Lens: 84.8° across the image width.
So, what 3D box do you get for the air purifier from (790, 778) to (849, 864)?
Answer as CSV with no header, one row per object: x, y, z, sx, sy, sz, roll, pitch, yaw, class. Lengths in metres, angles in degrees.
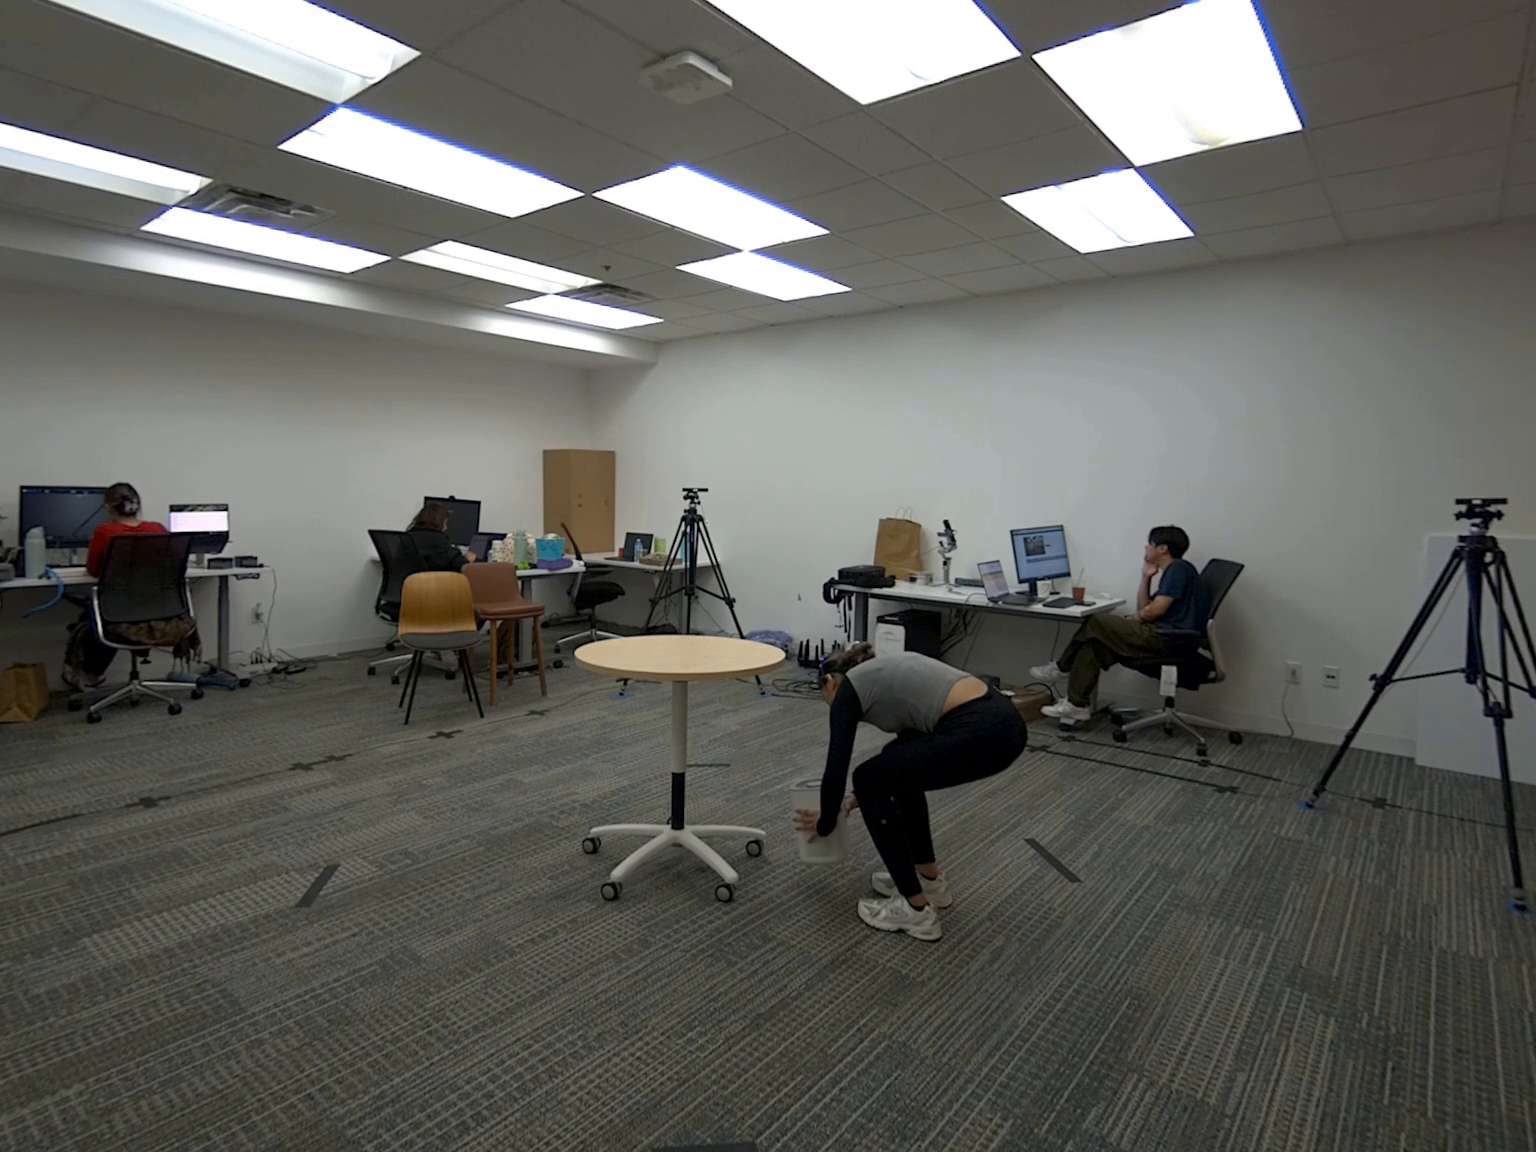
0.173,0.853,2.989,0.174,0.266,0.168,-10,-2,13,air purifier
